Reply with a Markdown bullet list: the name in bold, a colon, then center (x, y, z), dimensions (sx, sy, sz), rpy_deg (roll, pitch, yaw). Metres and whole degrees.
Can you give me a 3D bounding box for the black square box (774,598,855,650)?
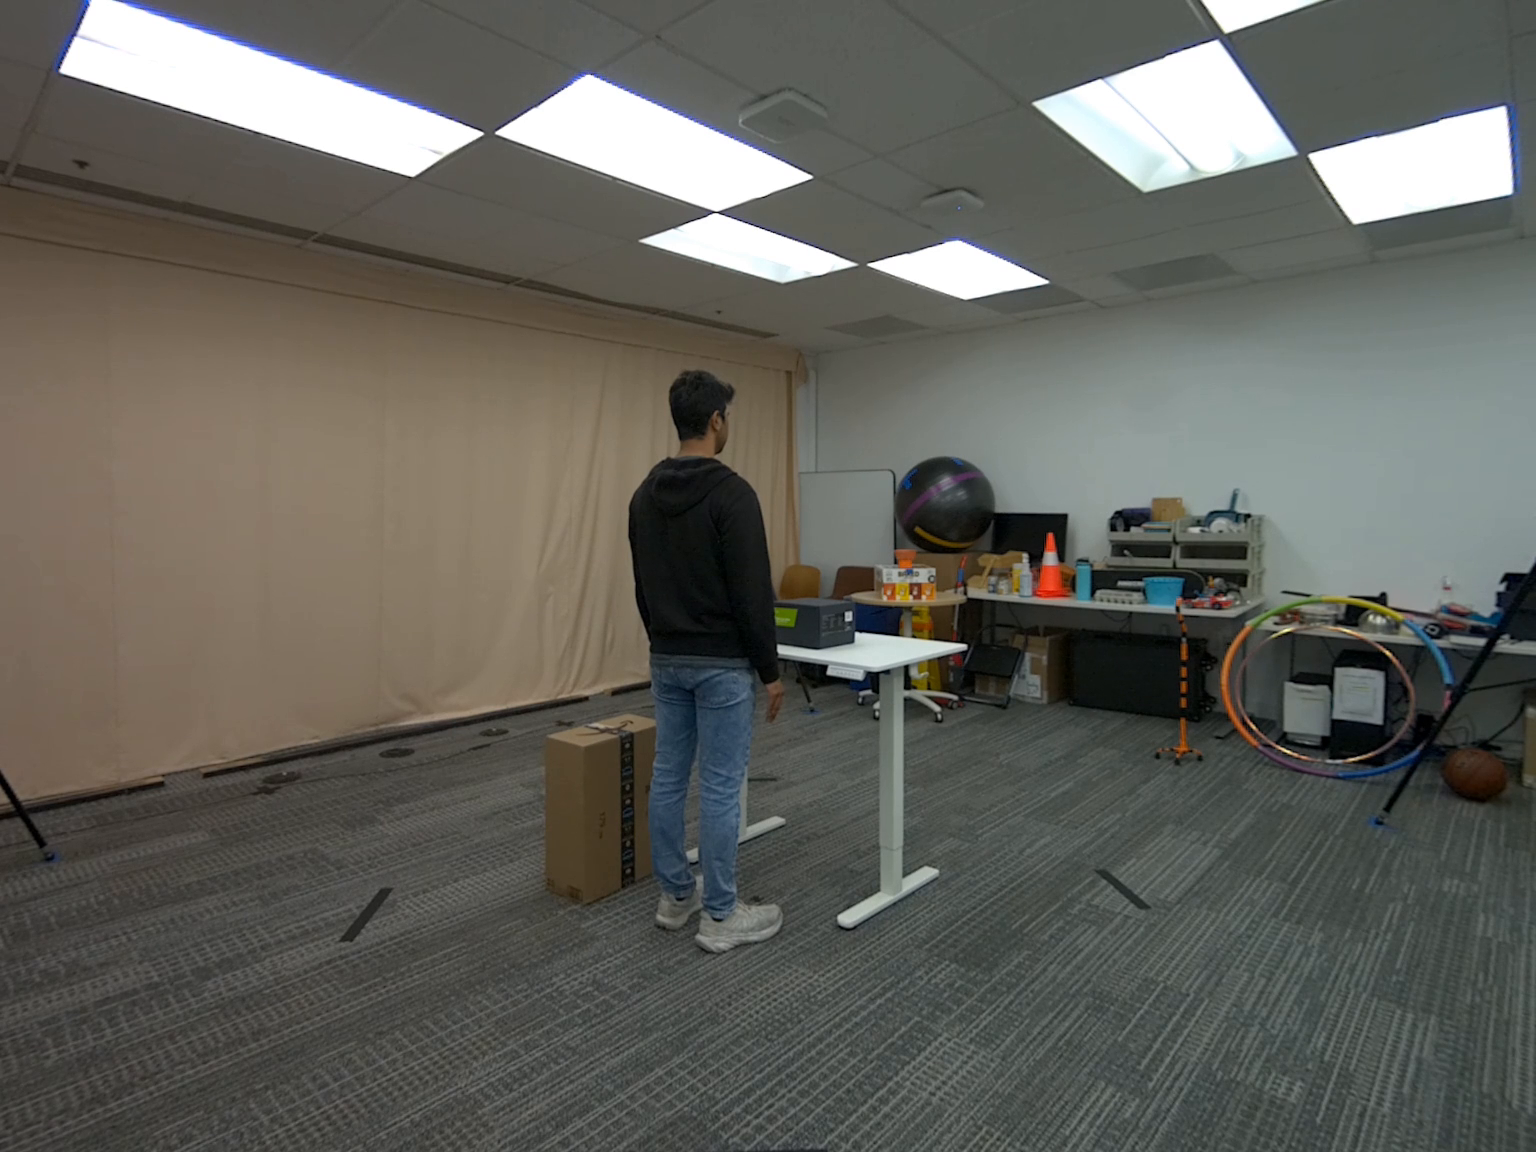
- **black square box**: center (0.170, 0.171, 3.112), dimensions (0.235, 0.155, 0.210), rpy_deg (4, 6, 44)
